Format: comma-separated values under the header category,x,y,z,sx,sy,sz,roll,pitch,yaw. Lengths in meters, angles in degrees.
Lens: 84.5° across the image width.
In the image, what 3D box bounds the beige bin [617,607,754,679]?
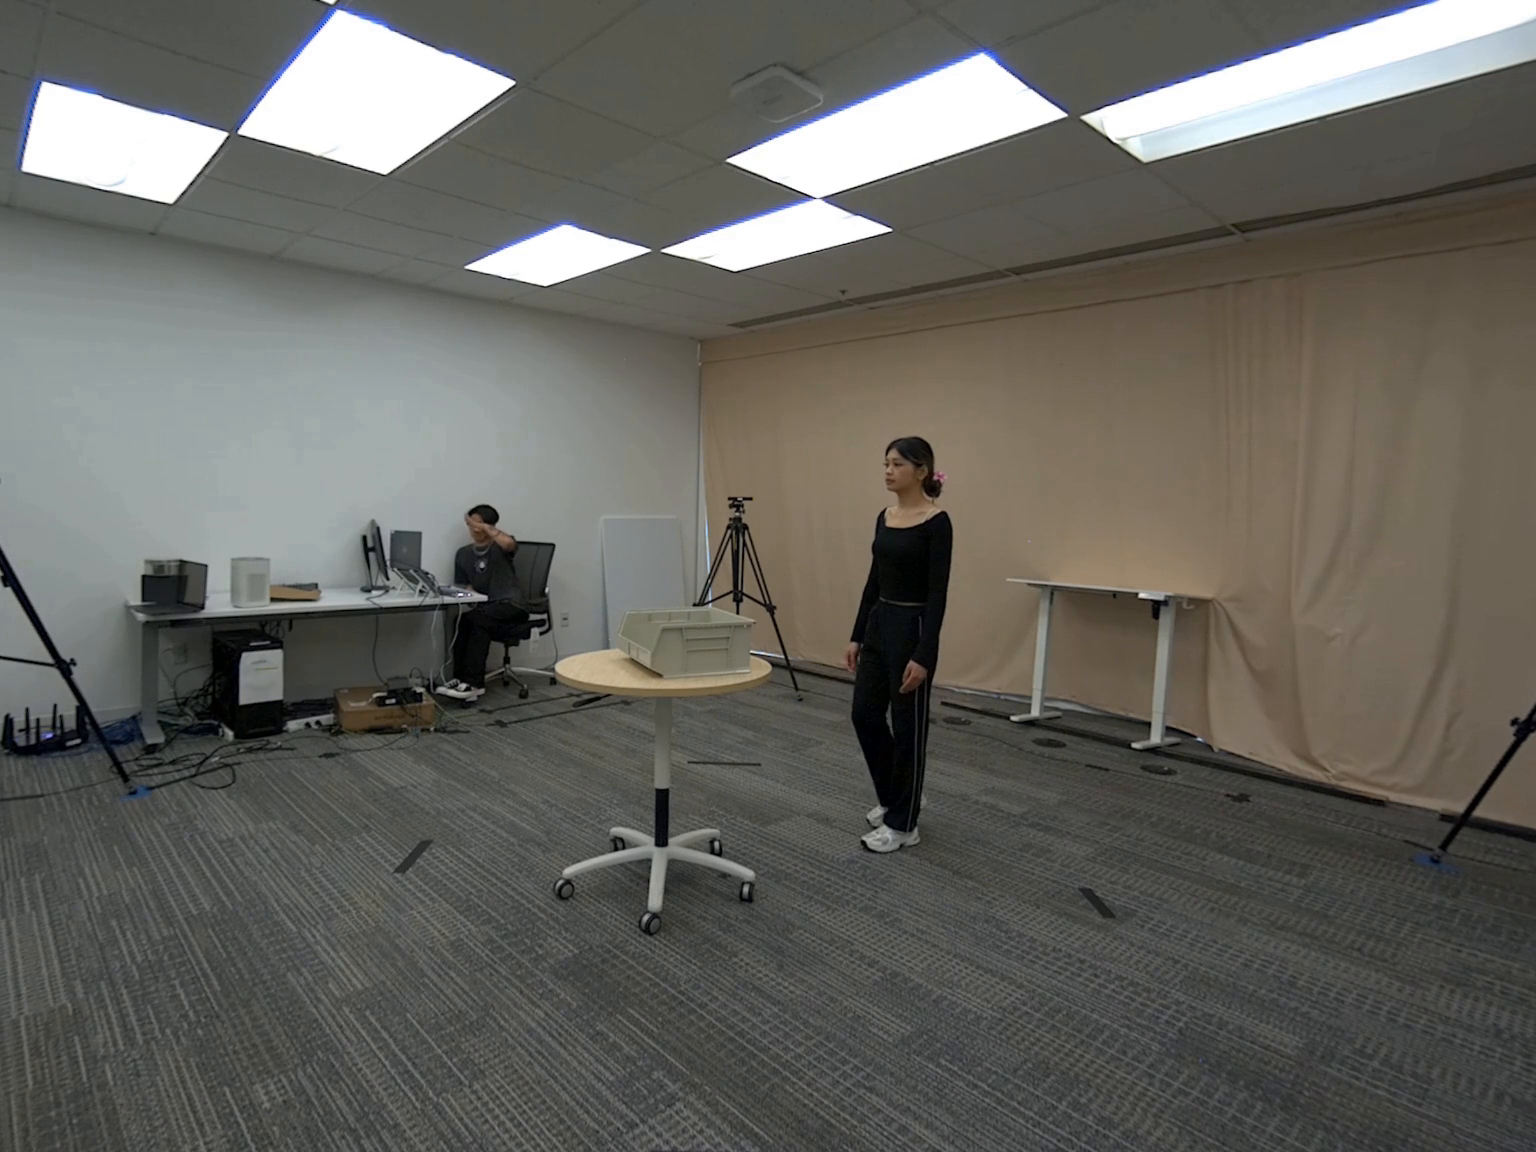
category,x,y,z,sx,sy,sz,roll,pitch,yaw
beige bin,-0.310,0.231,2.997,0.371,0.188,0.431,0,4,-25
